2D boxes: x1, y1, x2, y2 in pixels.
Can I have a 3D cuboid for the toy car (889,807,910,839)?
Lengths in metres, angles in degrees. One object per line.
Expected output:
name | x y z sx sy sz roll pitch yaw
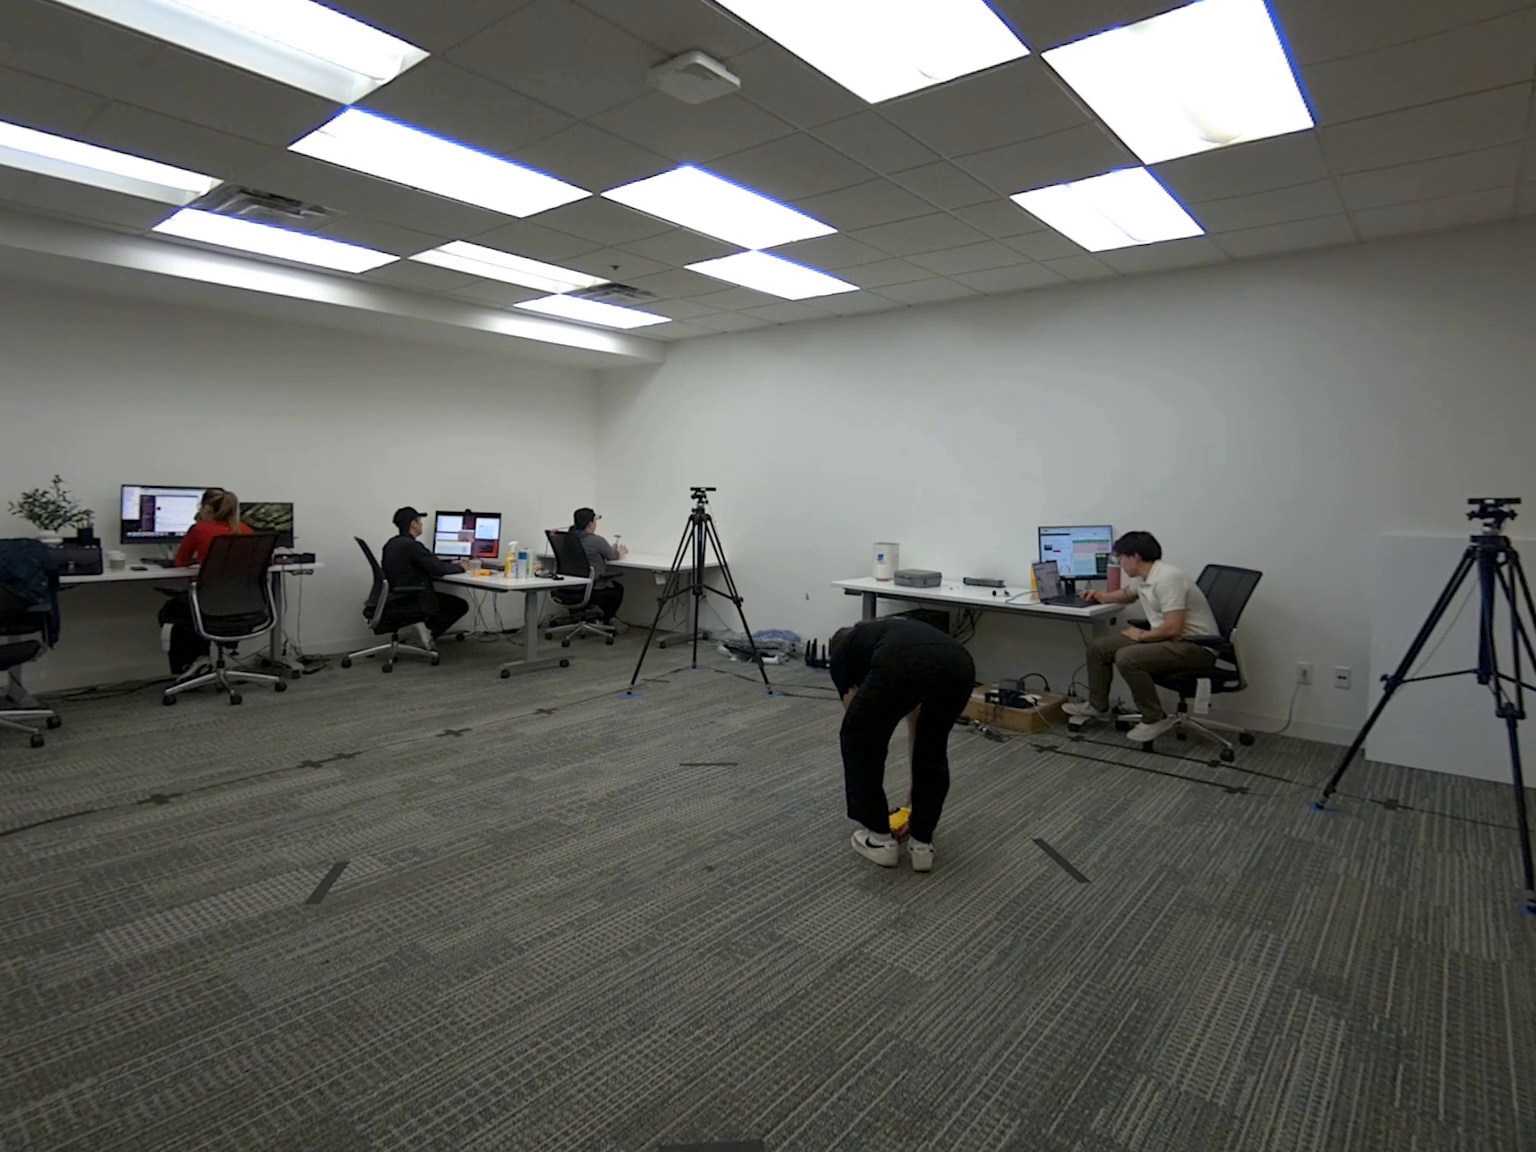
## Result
toy car | 0.523 1.005 3.479 0.135 0.083 0.247 7 7 44
